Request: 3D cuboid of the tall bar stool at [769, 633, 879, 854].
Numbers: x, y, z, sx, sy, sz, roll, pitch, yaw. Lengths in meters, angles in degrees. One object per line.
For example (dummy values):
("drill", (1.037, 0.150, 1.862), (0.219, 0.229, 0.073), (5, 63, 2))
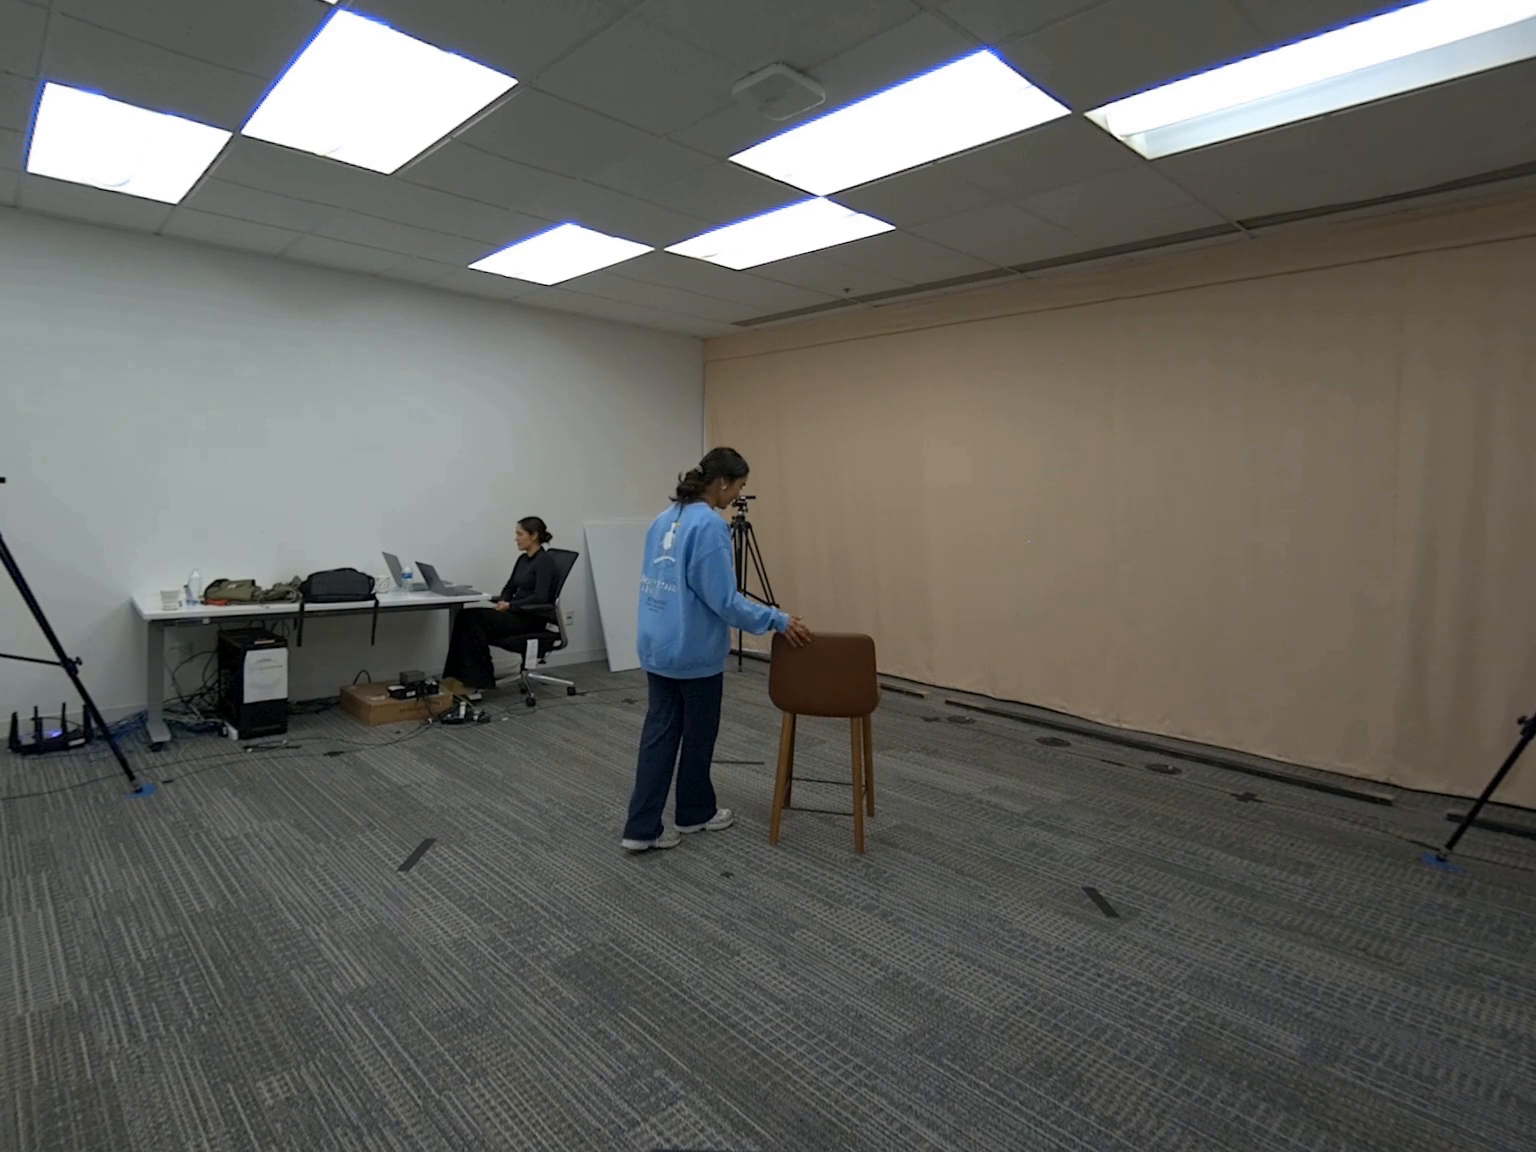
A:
("tall bar stool", (0.230, 0.637, 3.546), (0.461, 0.887, 0.464), (2, 4, 12))
